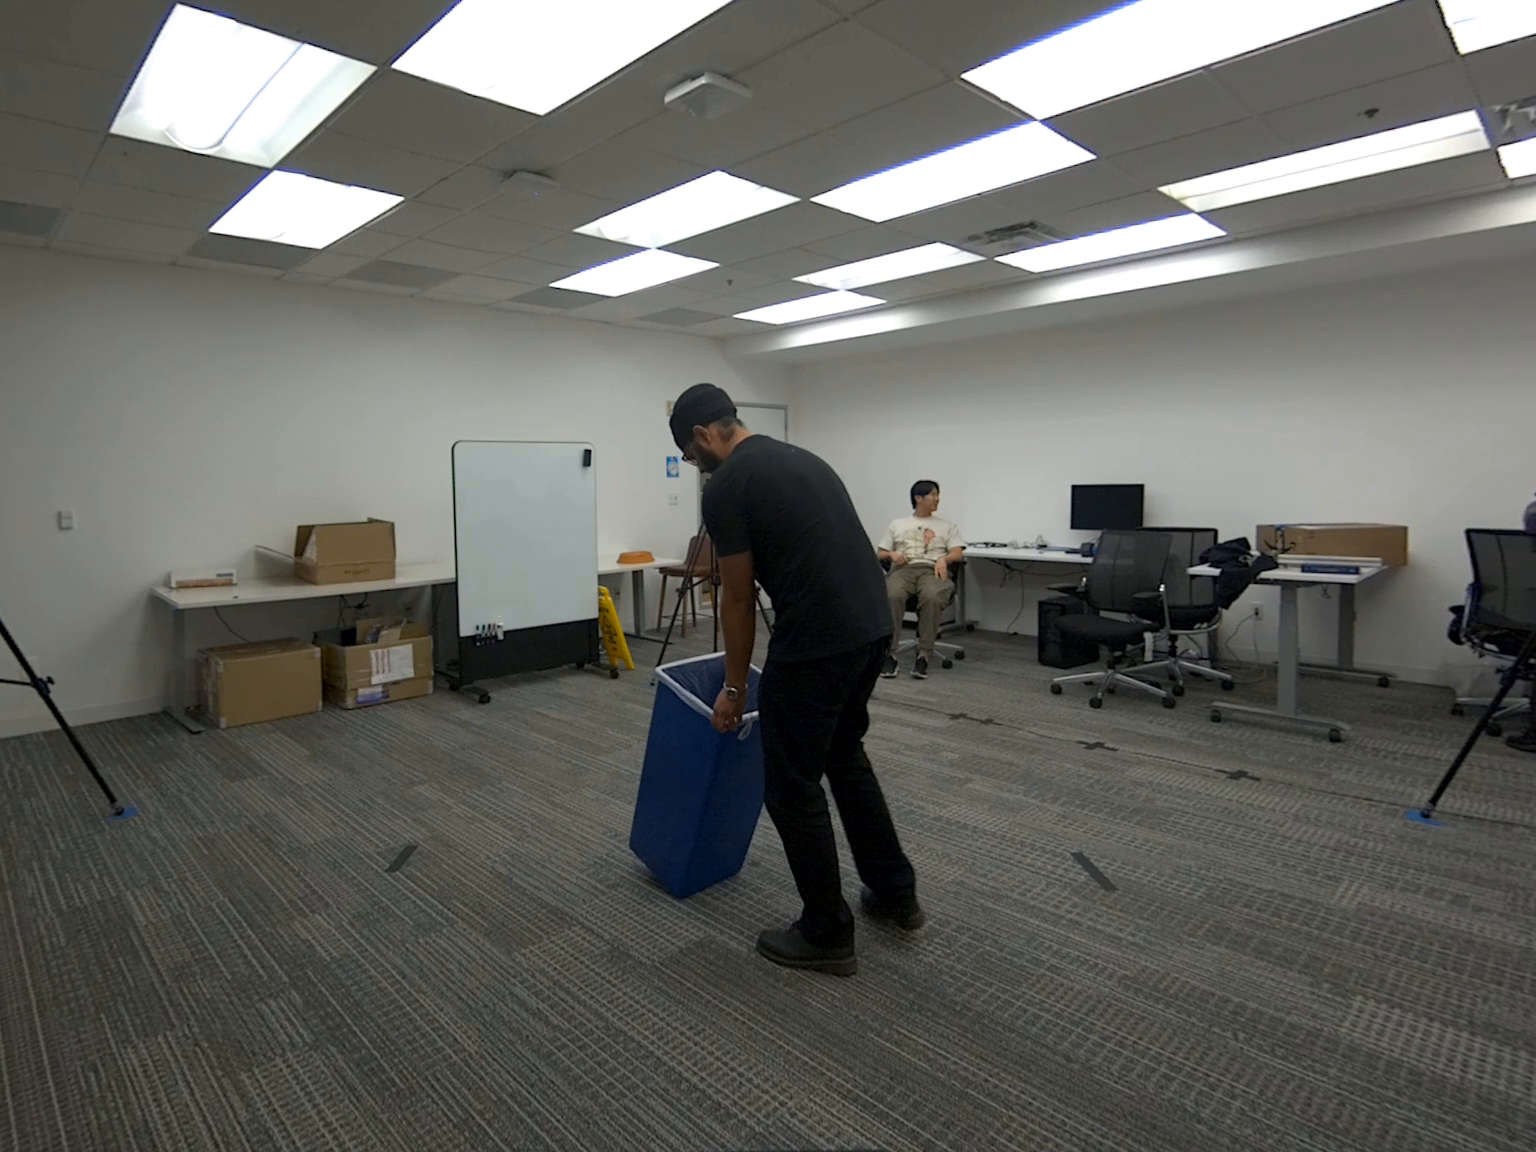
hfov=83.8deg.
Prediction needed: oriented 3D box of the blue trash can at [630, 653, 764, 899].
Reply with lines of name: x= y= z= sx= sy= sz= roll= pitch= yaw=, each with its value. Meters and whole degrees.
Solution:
blue trash can: x=-0.203 y=0.683 z=2.932 sx=0.388 sy=0.705 sz=0.368 roll=29 pitch=23 yaw=38
